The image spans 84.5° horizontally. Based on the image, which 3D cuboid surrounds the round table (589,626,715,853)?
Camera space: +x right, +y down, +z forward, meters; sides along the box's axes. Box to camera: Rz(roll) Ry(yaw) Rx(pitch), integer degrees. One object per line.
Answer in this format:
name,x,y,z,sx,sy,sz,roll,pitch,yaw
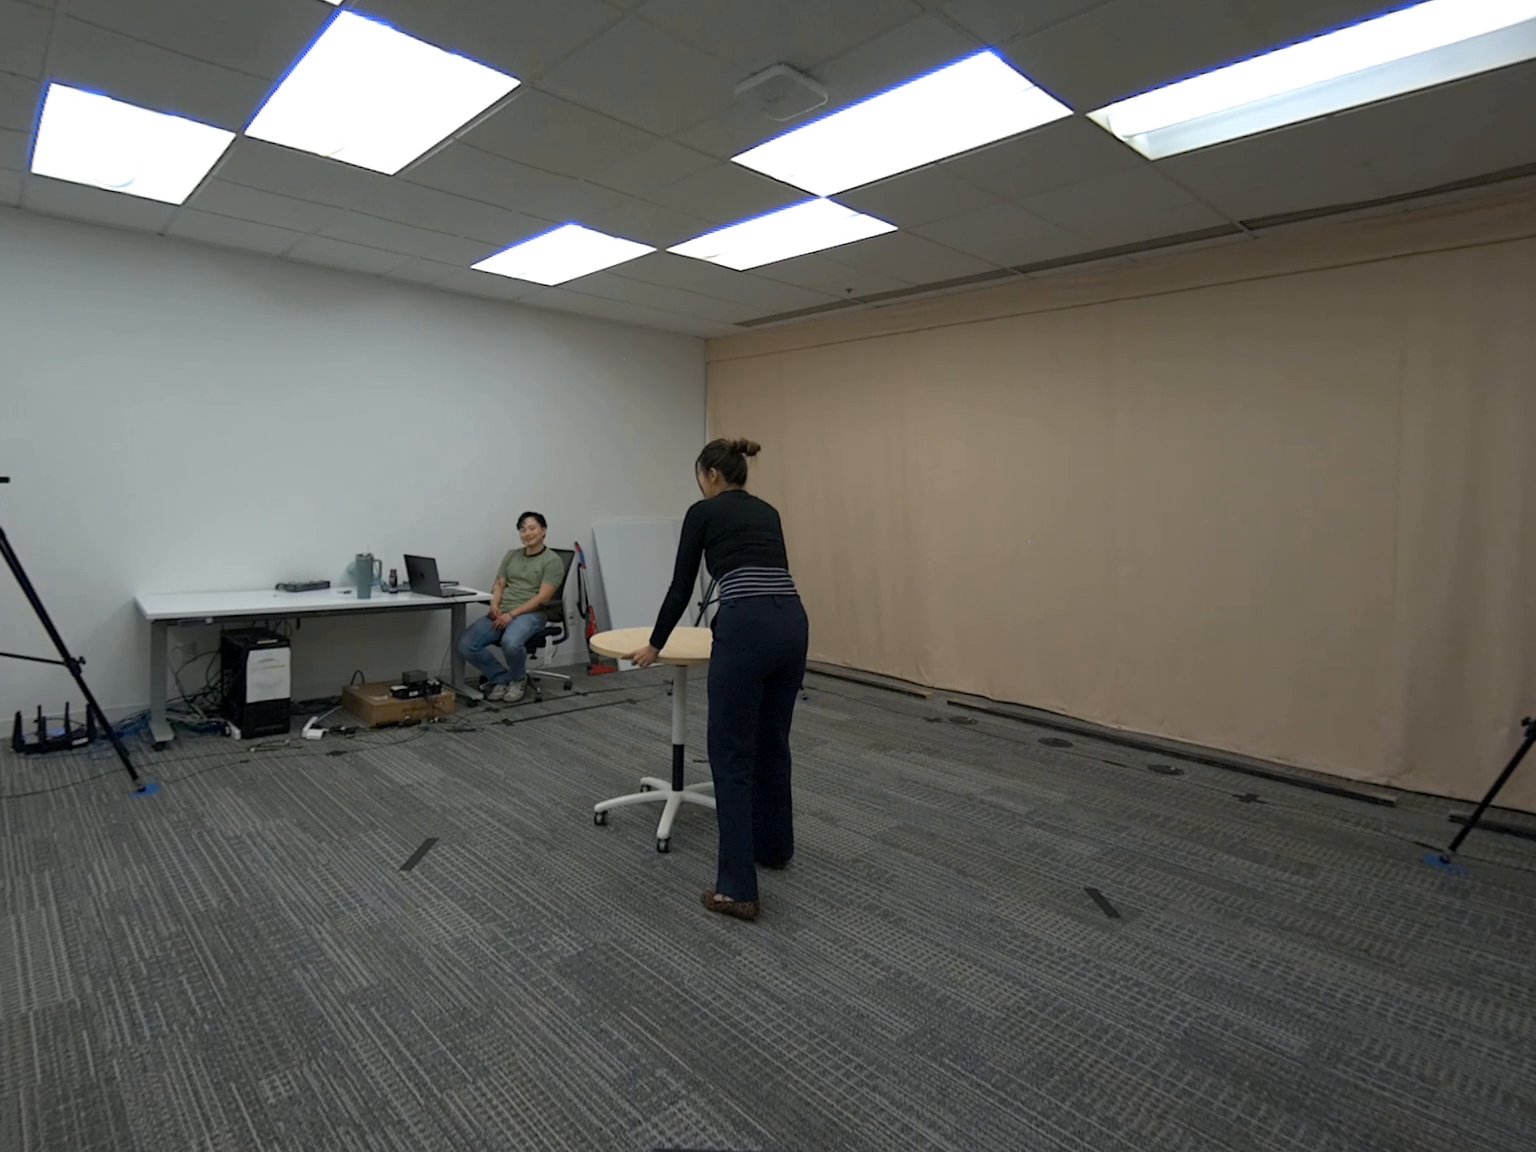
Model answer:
round table,-0.389,0.667,3.581,0.763,0.792,0.766,1,4,-1
